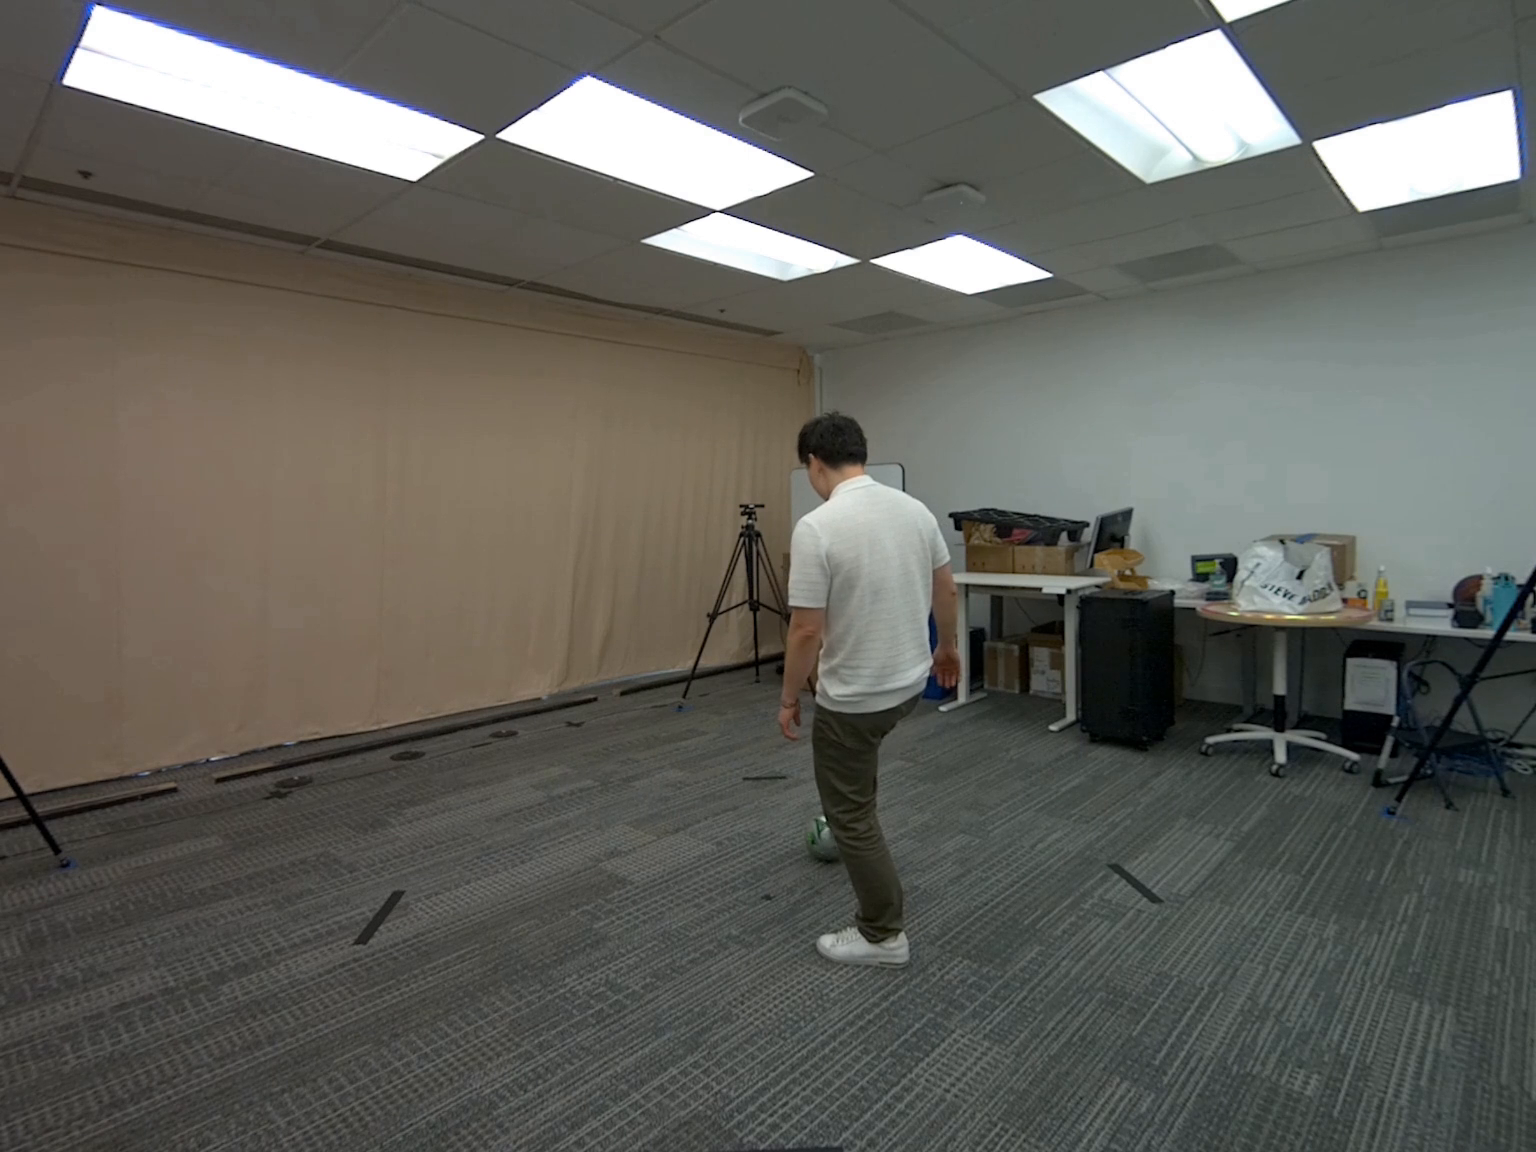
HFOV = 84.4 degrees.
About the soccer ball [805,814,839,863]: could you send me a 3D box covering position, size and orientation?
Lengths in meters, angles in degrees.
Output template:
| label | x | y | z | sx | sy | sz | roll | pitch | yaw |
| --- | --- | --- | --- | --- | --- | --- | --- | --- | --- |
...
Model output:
| label | x | y | z | sx | sy | sz | roll | pitch | yaw |
| --- | --- | --- | --- | --- | --- | --- | --- | --- | --- |
| soccer ball | 0.227 | 1.016 | 3.288 | 0.187 | 0.187 | 0.188 | -1 | 4 | -2 |
